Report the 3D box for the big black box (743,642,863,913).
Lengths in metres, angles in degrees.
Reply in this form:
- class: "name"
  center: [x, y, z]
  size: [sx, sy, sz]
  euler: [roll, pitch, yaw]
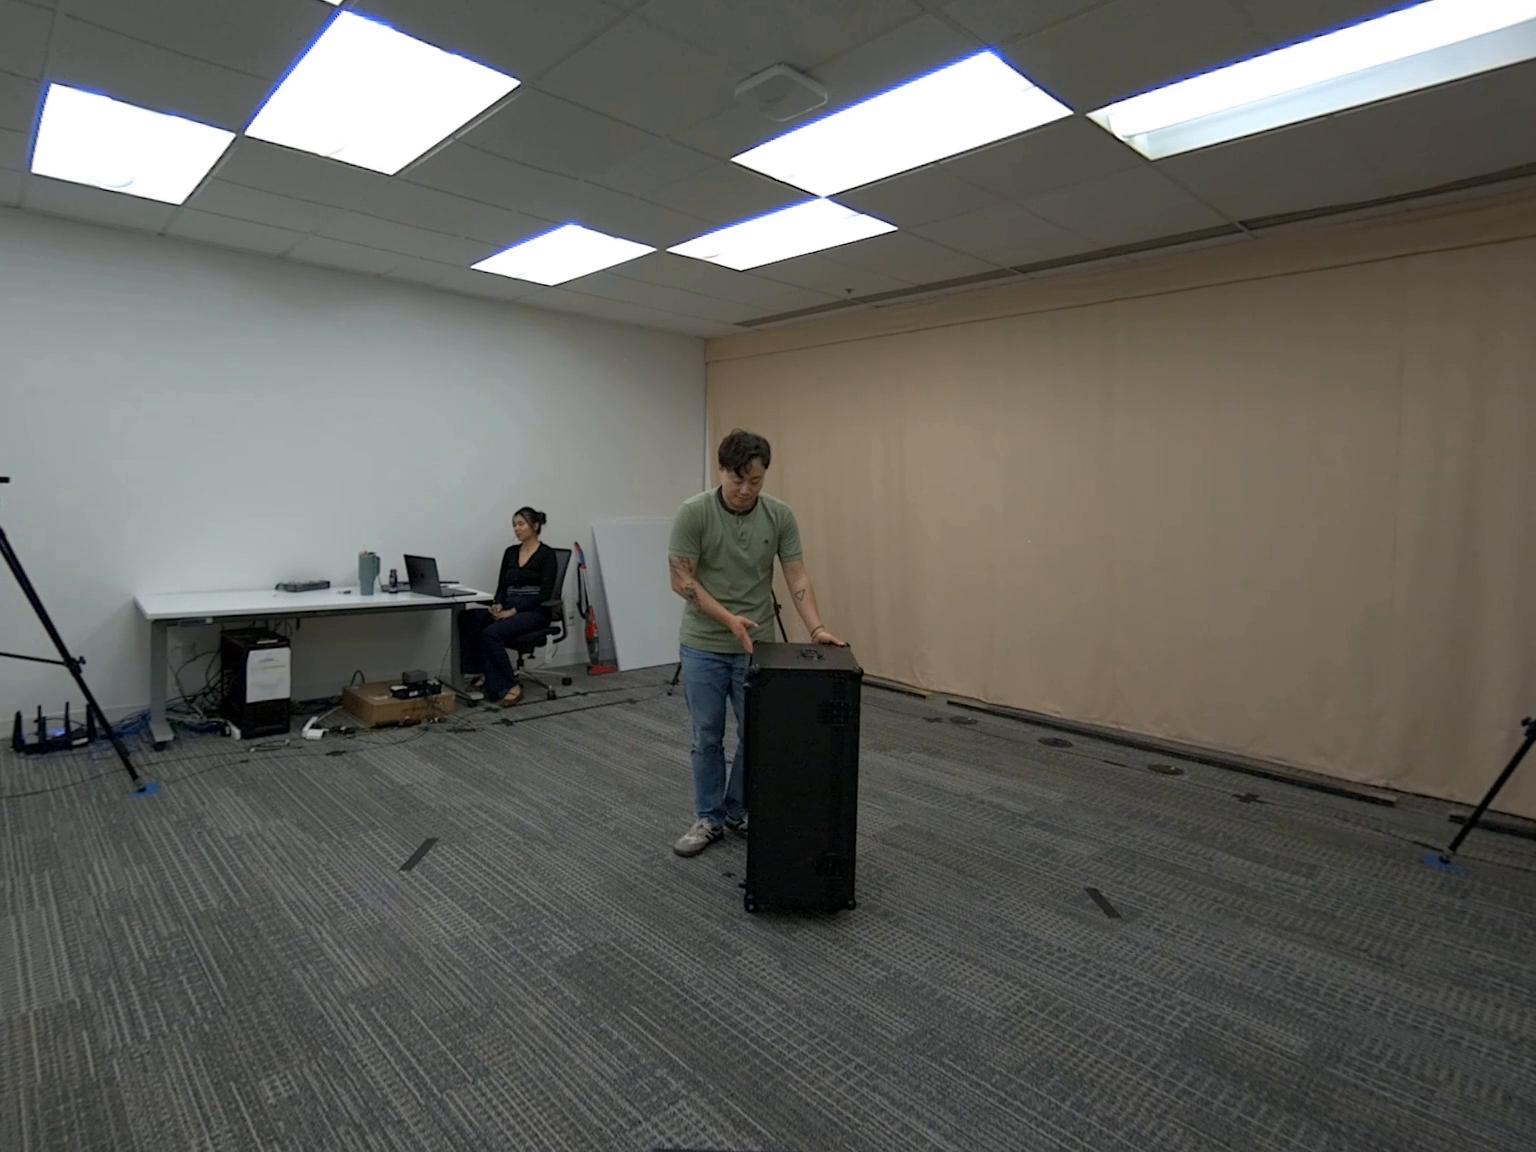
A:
- class: "big black box"
  center: [0.100, 0.701, 2.931]
  size: [0.397, 0.859, 0.522]
  euler: [1, 4, 1]
